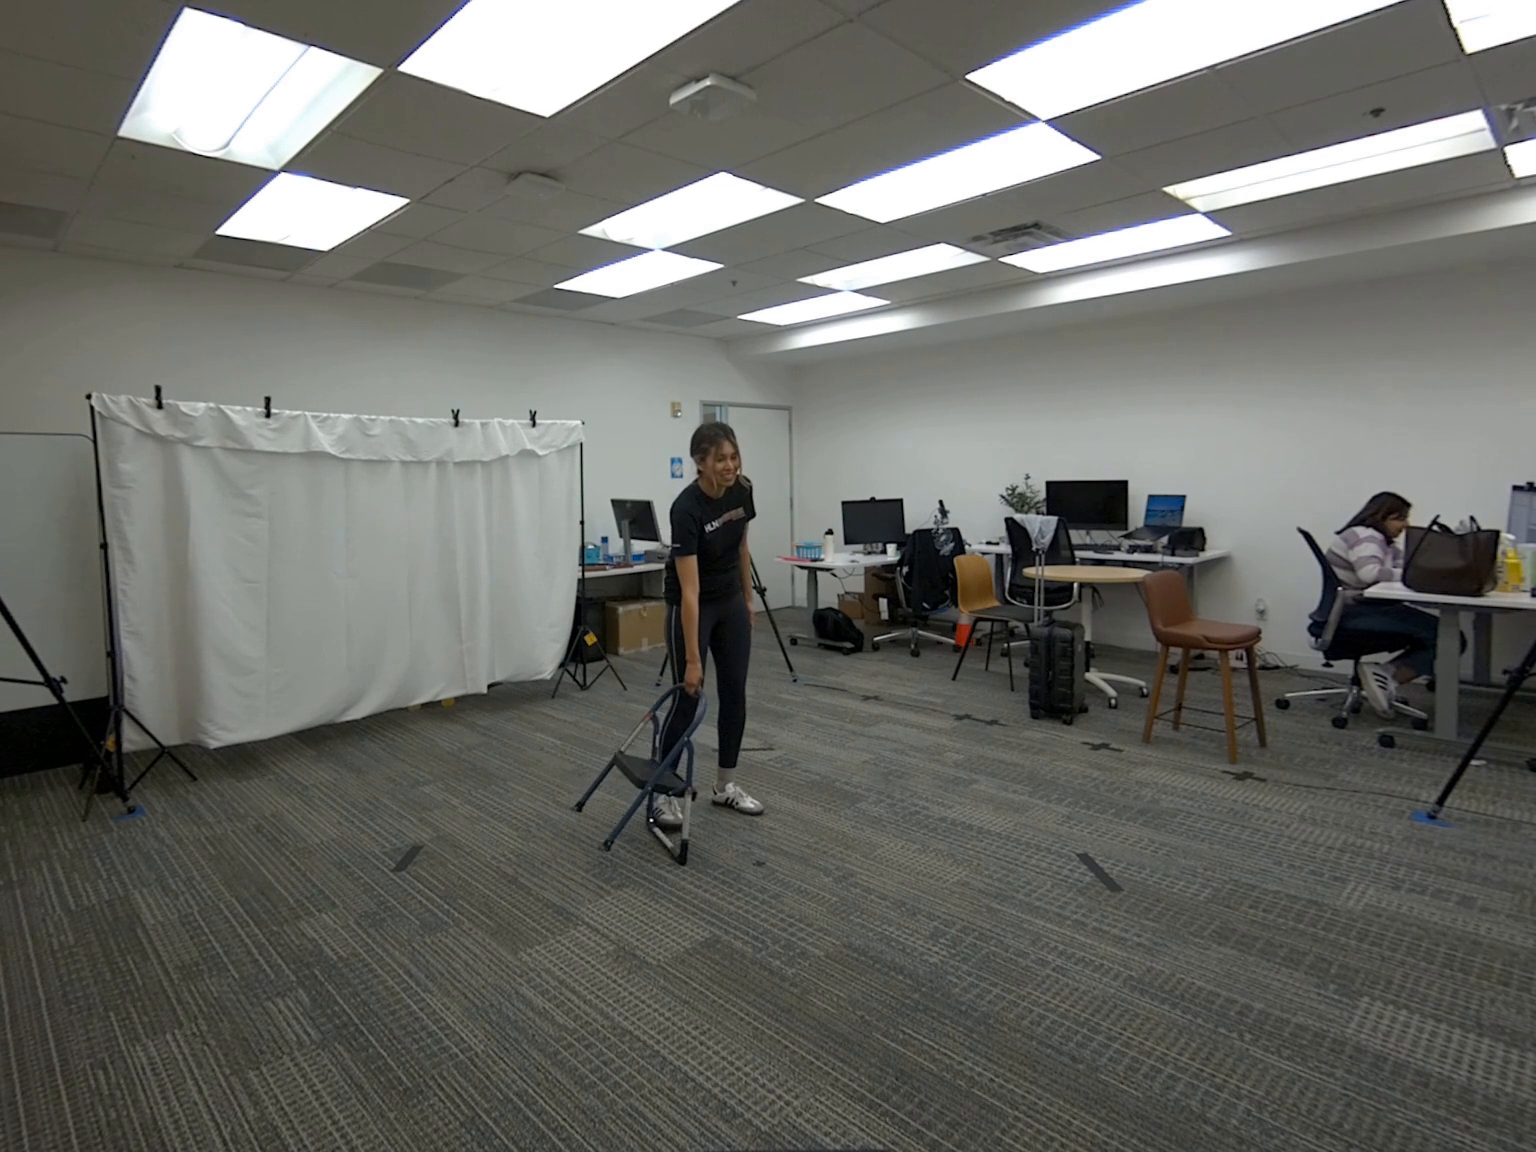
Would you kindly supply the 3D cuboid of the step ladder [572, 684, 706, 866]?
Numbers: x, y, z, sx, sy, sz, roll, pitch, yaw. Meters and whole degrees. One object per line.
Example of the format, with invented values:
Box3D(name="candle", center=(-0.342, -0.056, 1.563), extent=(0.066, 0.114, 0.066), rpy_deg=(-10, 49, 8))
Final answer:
Box3D(name="step ladder", center=(-0.440, 0.702, 3.244), extent=(0.340, 0.608, 0.442), rpy_deg=(21, -5, -26))
